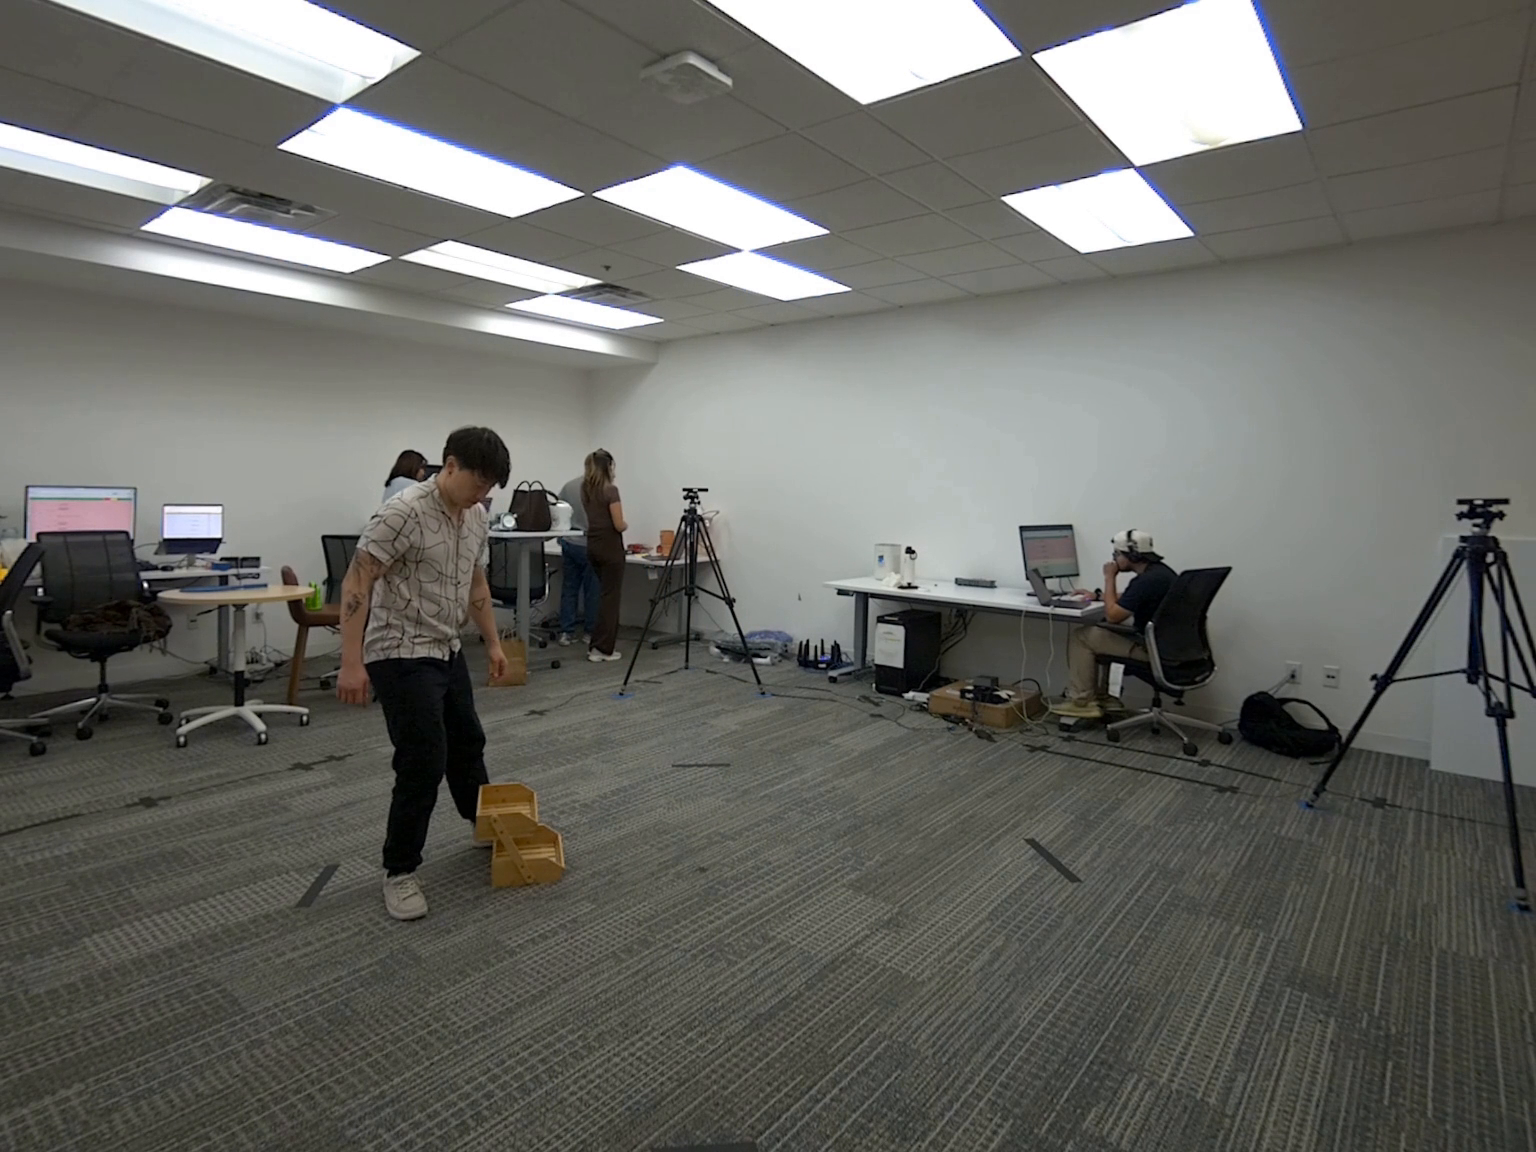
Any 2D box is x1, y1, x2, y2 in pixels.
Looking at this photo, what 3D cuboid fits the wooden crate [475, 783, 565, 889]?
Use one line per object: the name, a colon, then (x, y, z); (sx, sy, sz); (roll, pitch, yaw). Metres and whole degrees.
wooden crate: (-0.904, 0.930, 3.091); (0.297, 0.272, 0.330); (-2, 4, -15)
